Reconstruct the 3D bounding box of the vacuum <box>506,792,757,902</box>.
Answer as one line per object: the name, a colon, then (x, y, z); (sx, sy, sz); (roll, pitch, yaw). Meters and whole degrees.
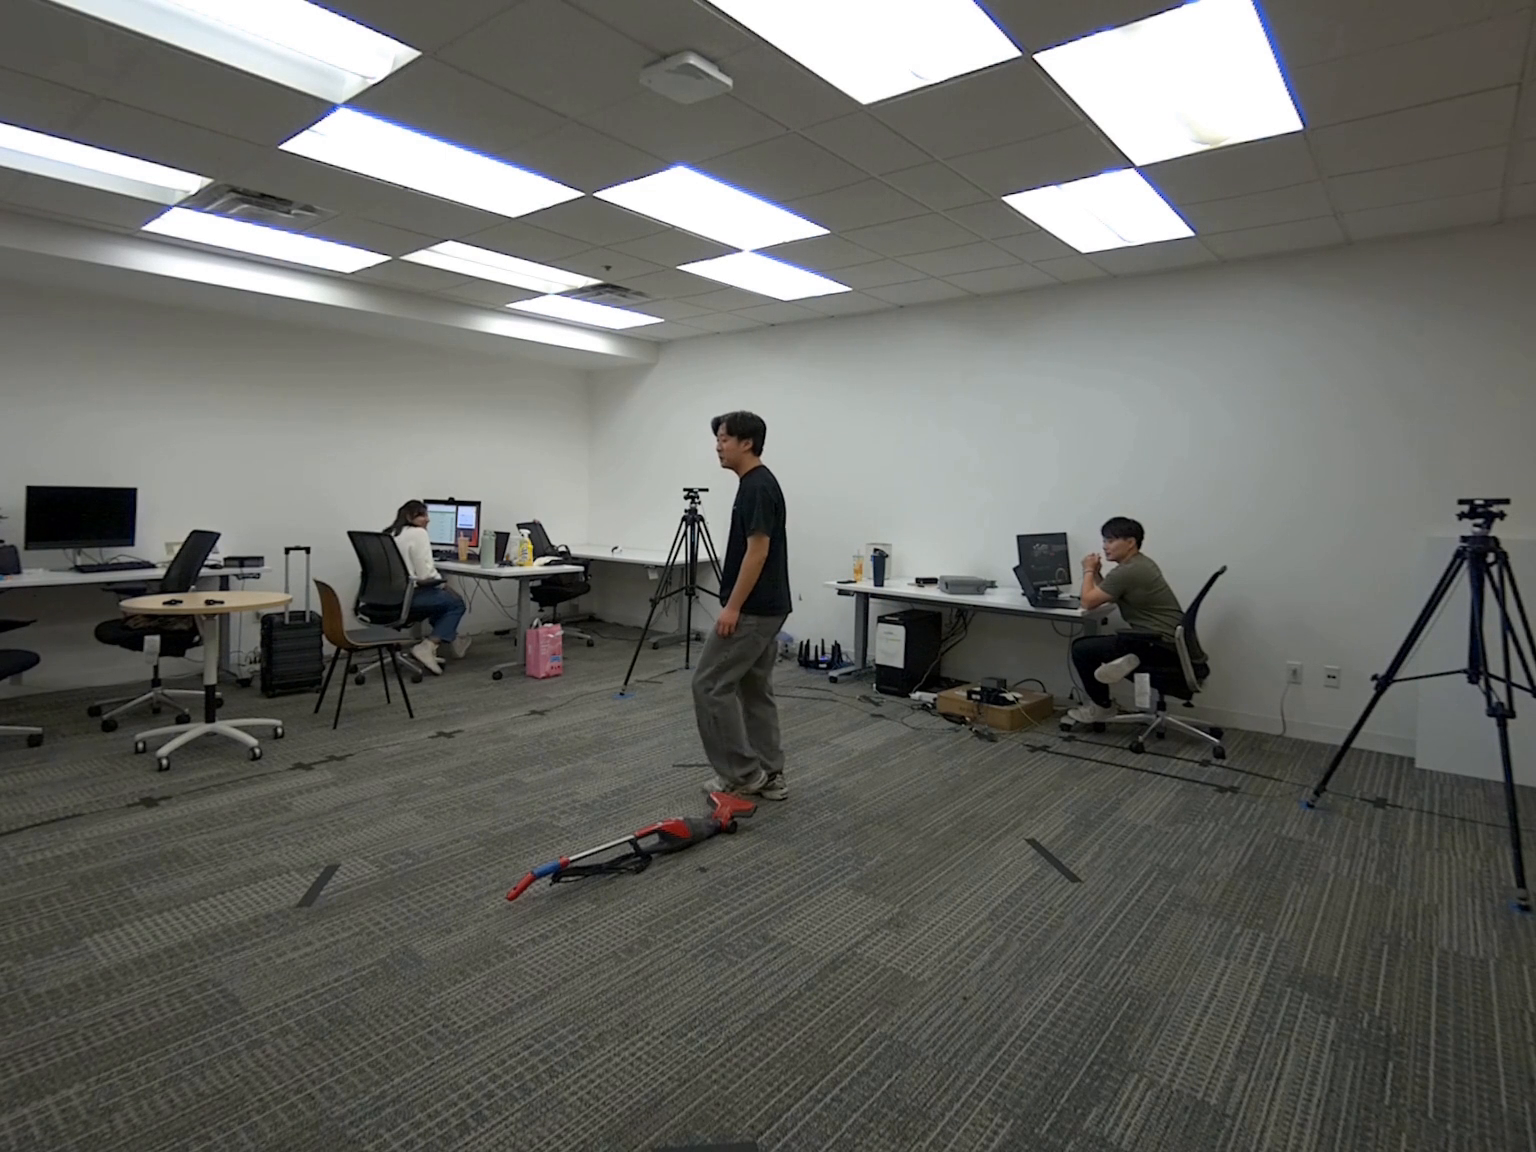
vacuum: (-0.510, 1.012, 3.119); (0.261, 0.143, 1.018); (3, 6, 41)
